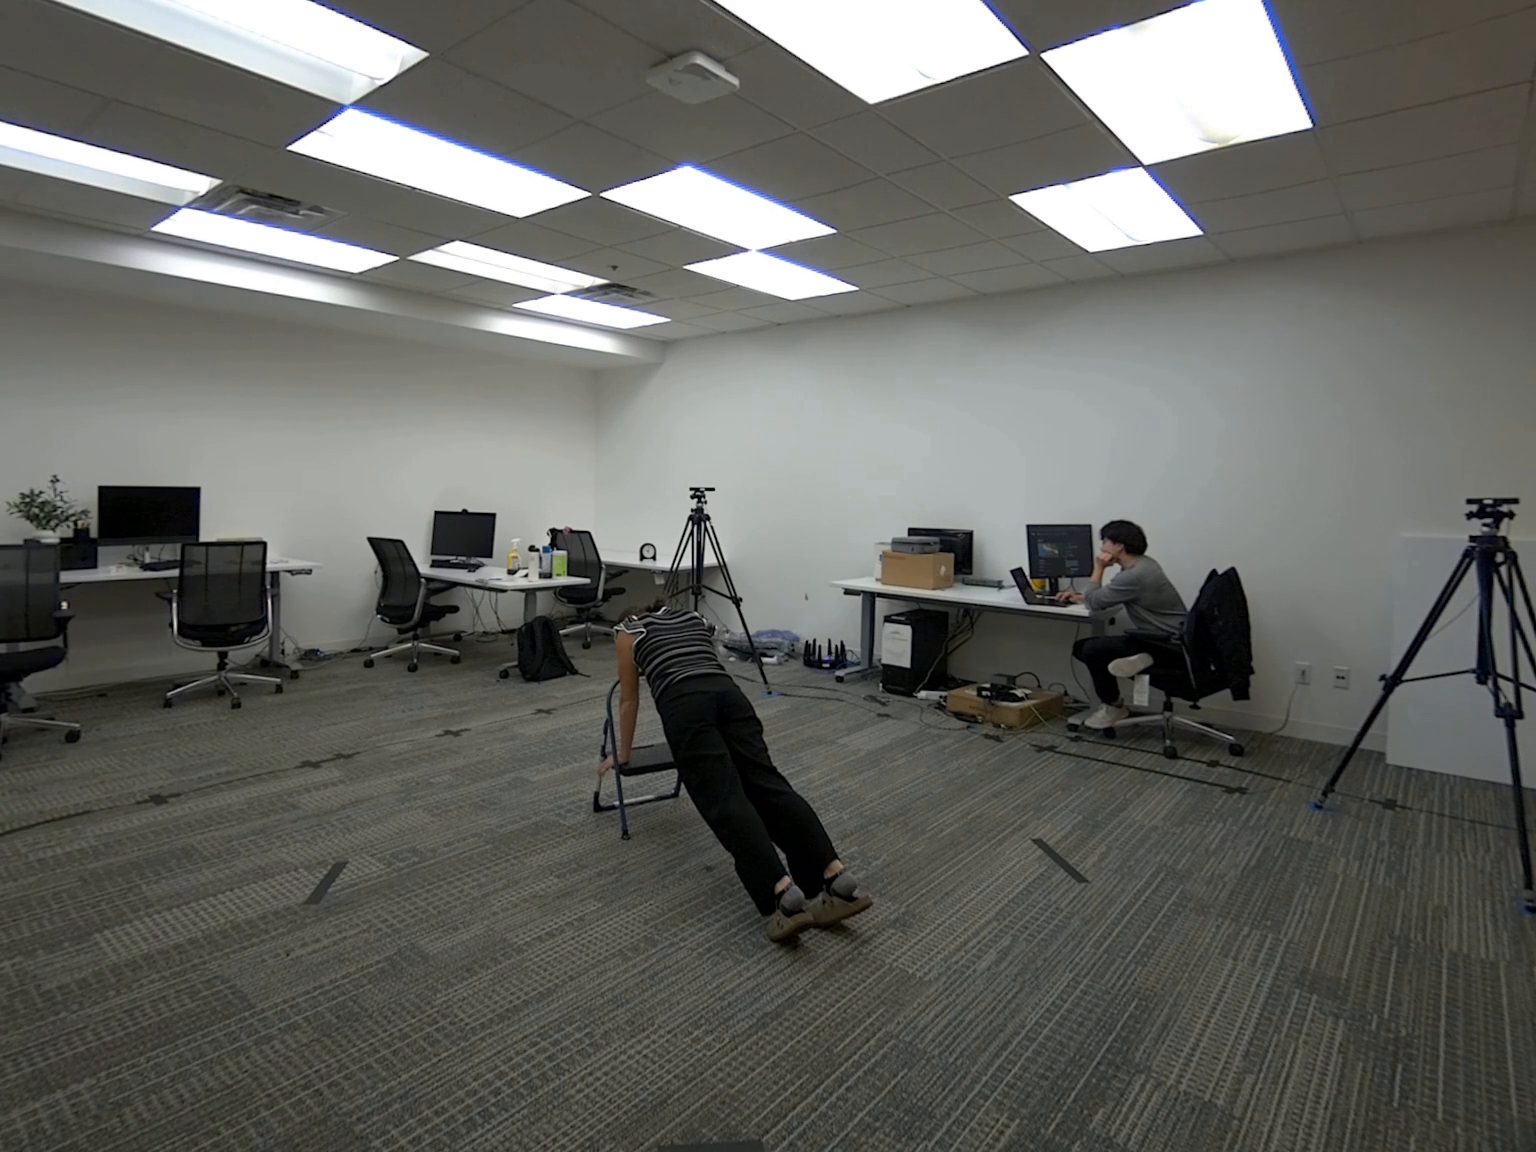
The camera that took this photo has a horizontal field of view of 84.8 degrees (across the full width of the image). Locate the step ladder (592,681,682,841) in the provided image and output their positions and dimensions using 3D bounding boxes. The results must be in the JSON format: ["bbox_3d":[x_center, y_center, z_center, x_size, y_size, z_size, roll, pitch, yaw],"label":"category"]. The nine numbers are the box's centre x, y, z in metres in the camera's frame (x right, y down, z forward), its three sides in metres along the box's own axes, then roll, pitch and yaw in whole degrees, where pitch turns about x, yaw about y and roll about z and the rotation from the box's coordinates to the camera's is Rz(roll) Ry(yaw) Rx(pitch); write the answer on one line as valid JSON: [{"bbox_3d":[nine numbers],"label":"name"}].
[{"bbox_3d":[-0.496,0.714,3.594,0.418,0.605,0.360,-1,3,-34],"label":"step ladder"}]
